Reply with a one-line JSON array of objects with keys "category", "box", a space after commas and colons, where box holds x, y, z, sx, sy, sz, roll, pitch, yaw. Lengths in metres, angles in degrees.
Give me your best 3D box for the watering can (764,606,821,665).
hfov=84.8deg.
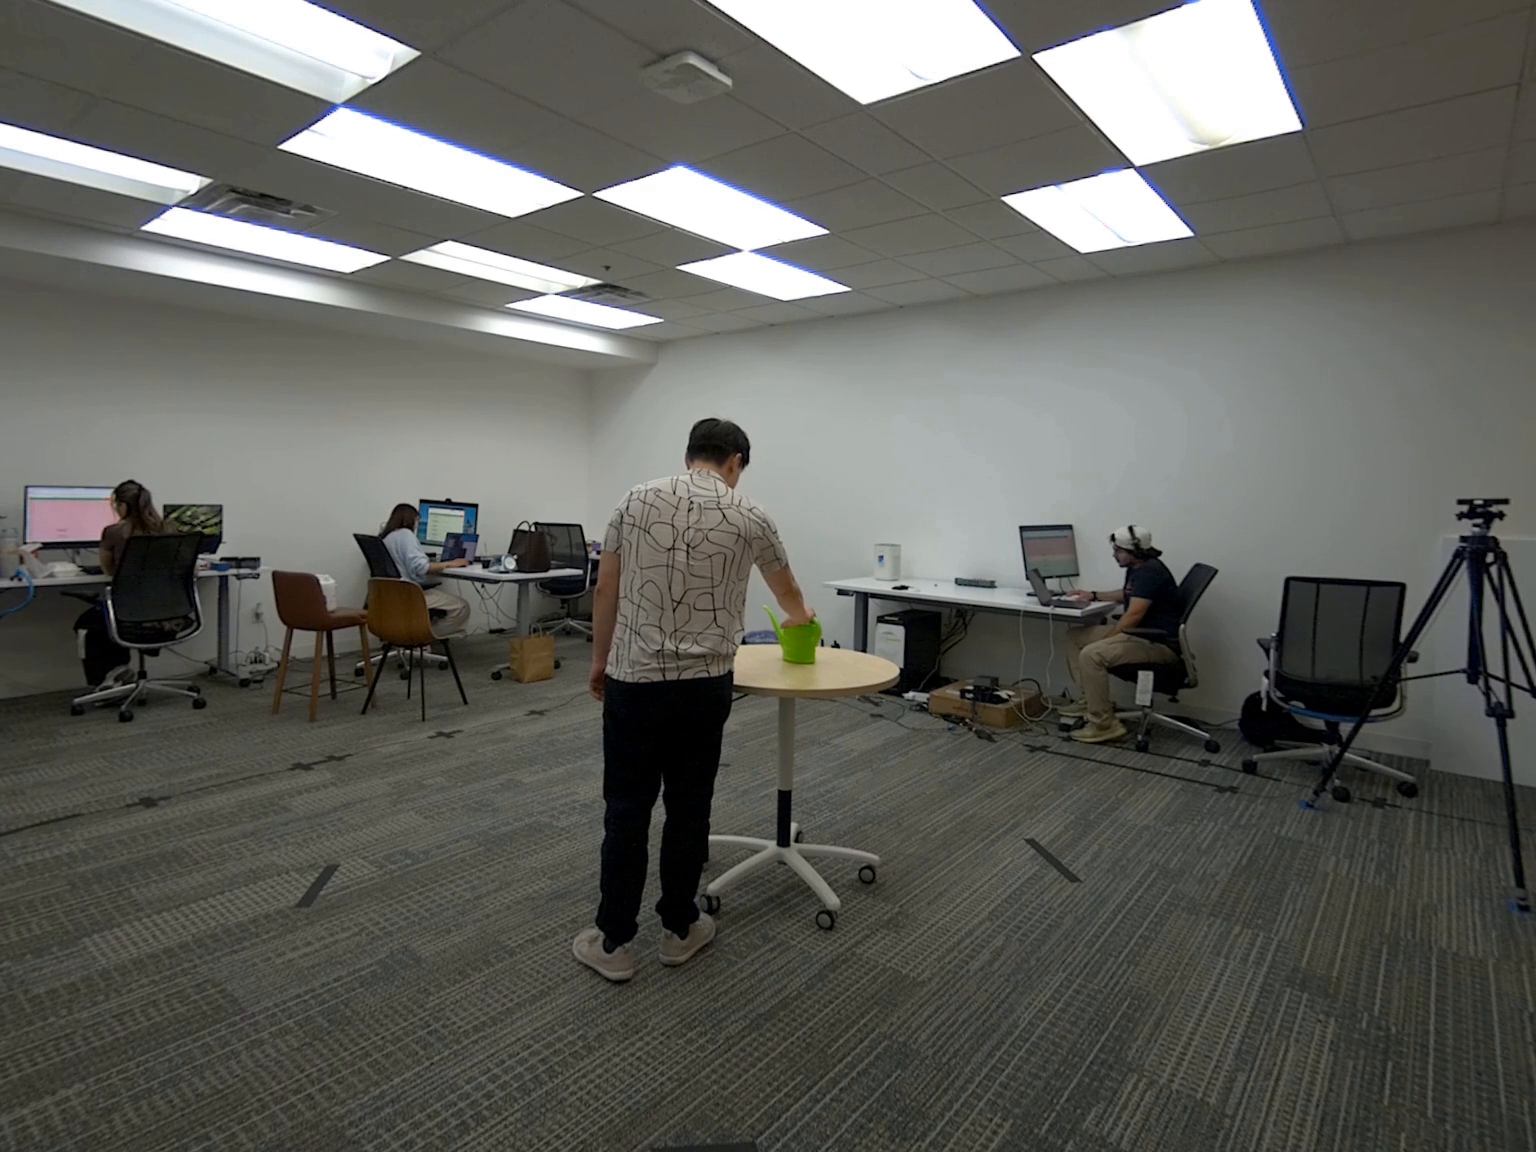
[{"category": "watering can", "box": [0.079, 0.209, 3.064, 0.095, 0.176, 0.288, -3, 9, -32]}]
